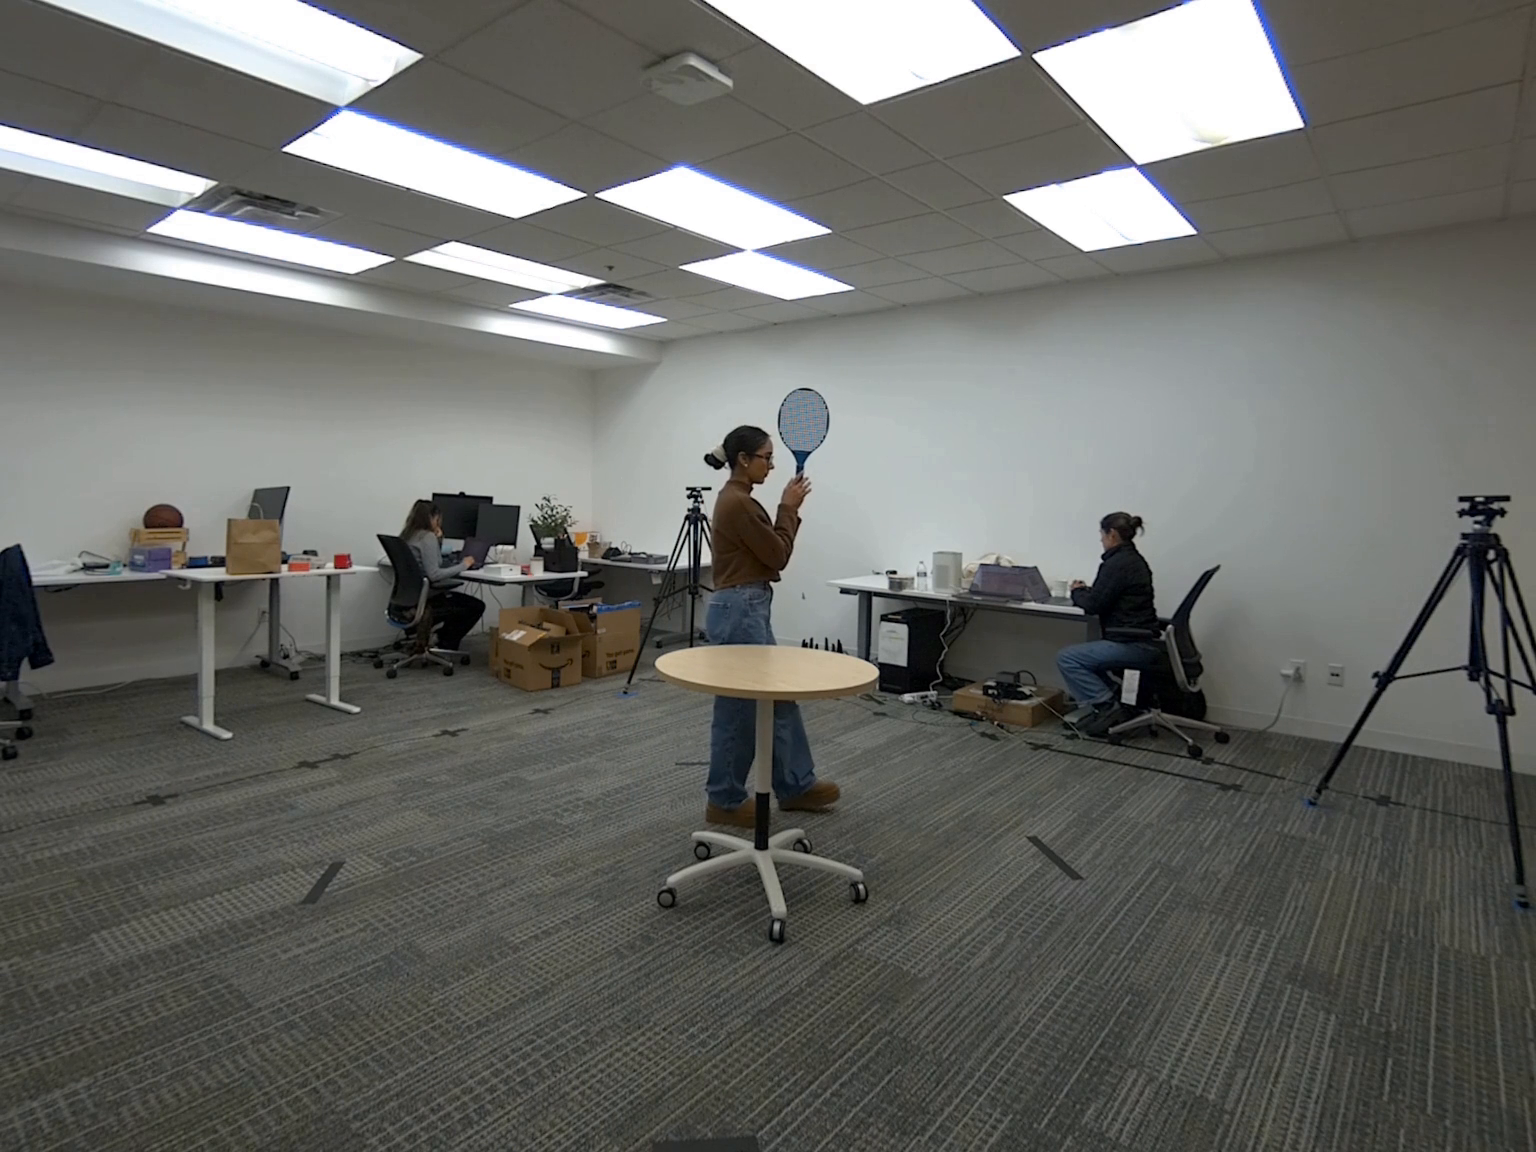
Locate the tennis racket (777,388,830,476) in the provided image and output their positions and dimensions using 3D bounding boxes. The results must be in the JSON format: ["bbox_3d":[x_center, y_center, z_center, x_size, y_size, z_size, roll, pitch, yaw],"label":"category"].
[{"bbox_3d":[0.124,-0.553,3.467,0.218,0.428,0.031,7,11,19],"label":"tennis racket"}]
